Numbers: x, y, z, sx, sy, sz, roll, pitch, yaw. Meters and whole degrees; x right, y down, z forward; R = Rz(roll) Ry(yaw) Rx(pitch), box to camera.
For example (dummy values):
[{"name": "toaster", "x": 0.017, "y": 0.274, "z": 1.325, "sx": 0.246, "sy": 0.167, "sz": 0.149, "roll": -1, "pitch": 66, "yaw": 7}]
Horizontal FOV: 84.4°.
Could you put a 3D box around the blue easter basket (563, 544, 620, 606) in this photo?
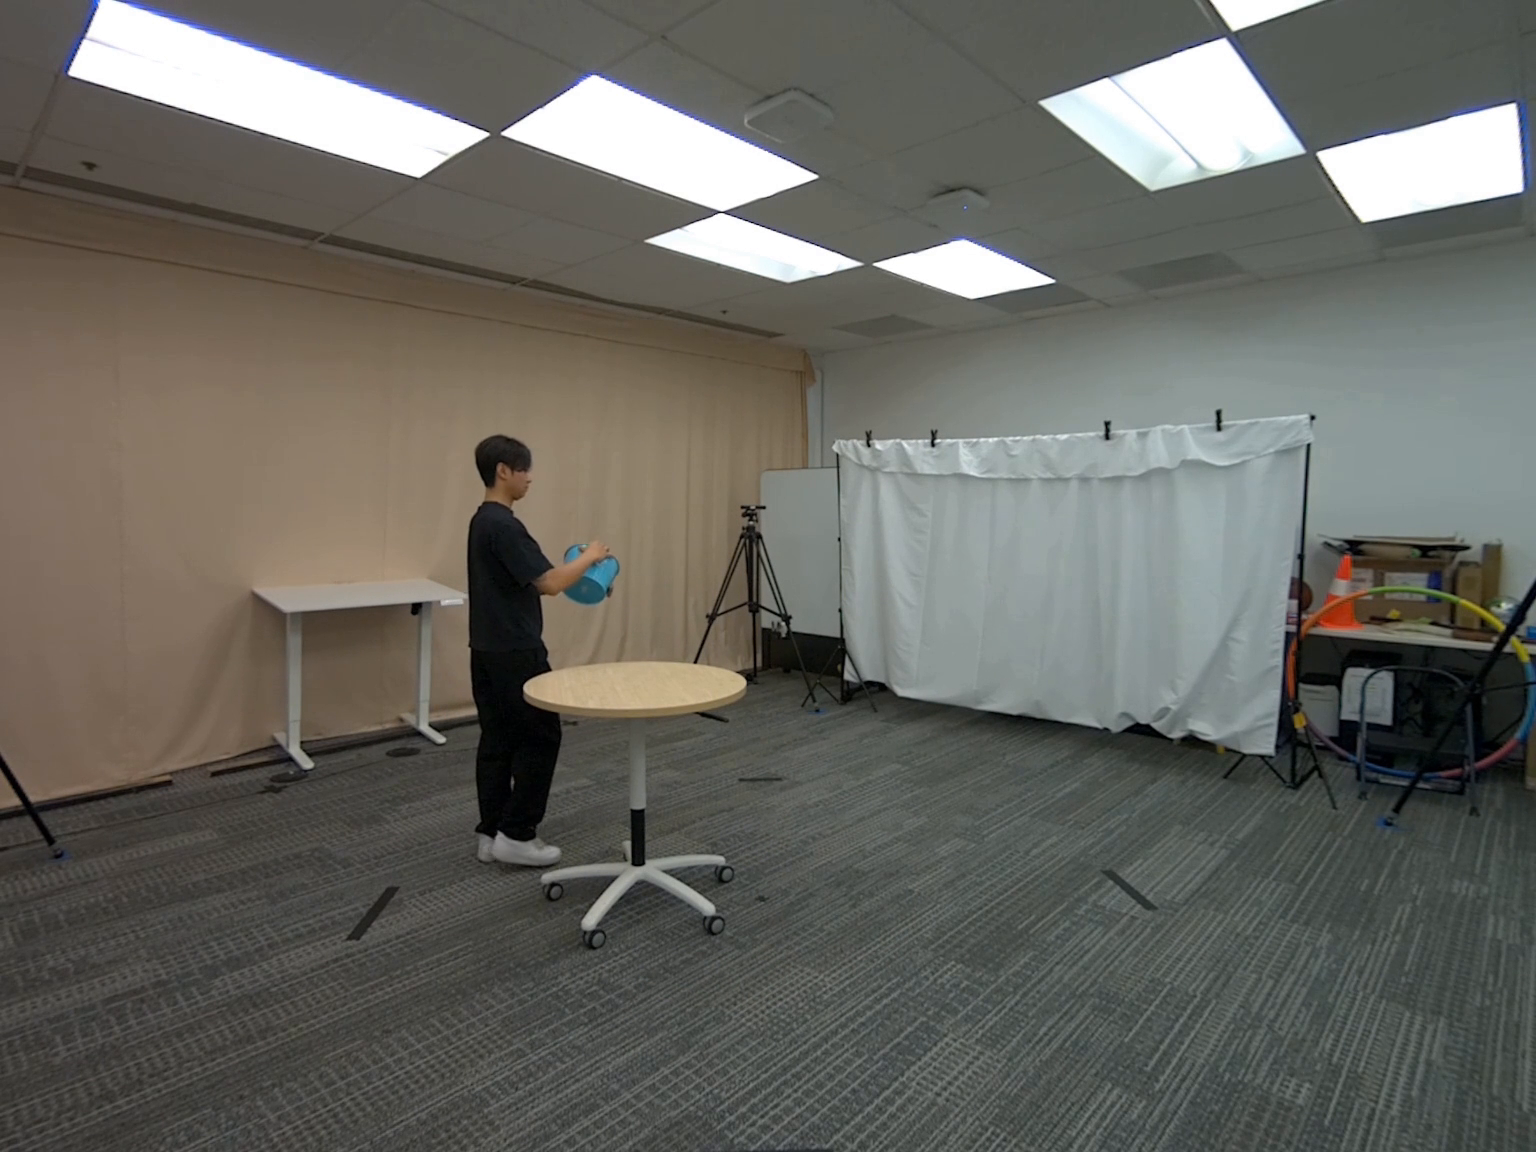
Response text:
[{"name": "blue easter basket", "x": -0.737, "y": 0.001, "z": 3.442, "sx": 0.246, "sy": 0.238, "sz": 0.158, "roll": 1, "pitch": 48, "yaw": 9}]
